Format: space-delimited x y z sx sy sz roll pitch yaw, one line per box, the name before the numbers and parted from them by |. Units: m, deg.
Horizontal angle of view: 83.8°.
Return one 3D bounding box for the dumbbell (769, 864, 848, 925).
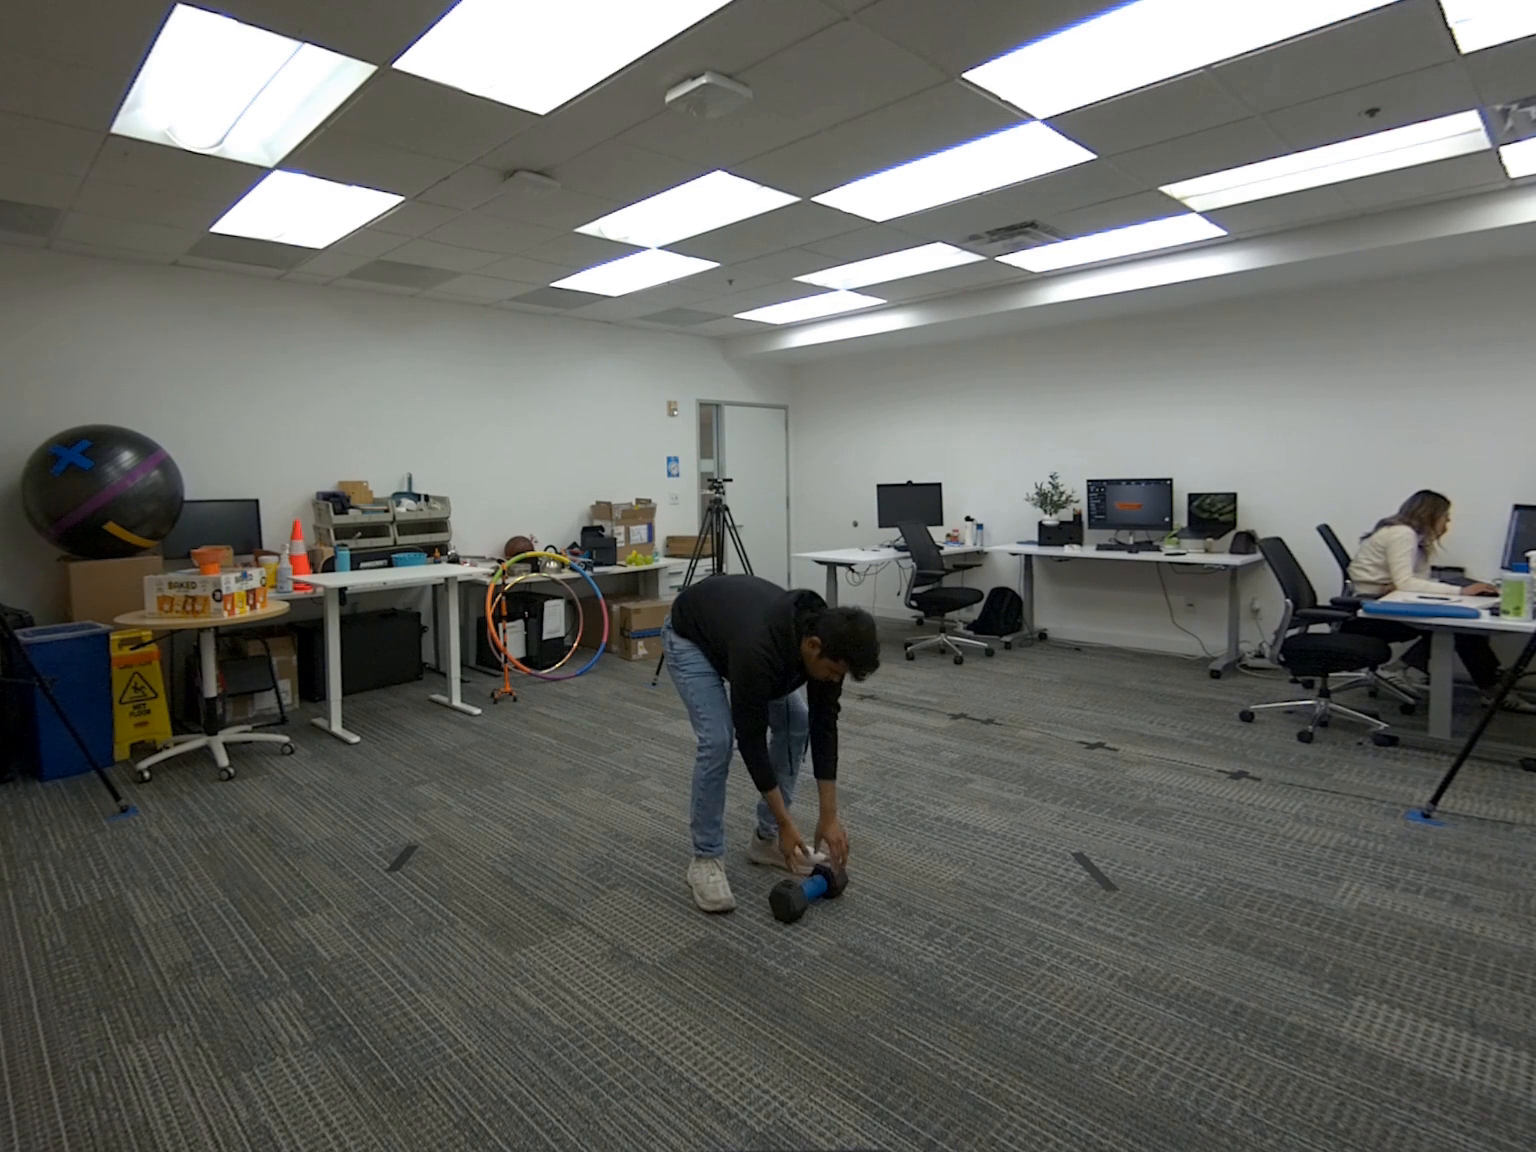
dumbbell | 0.139 1.021 2.792 0.286 0.122 0.113 -6 39 -46
